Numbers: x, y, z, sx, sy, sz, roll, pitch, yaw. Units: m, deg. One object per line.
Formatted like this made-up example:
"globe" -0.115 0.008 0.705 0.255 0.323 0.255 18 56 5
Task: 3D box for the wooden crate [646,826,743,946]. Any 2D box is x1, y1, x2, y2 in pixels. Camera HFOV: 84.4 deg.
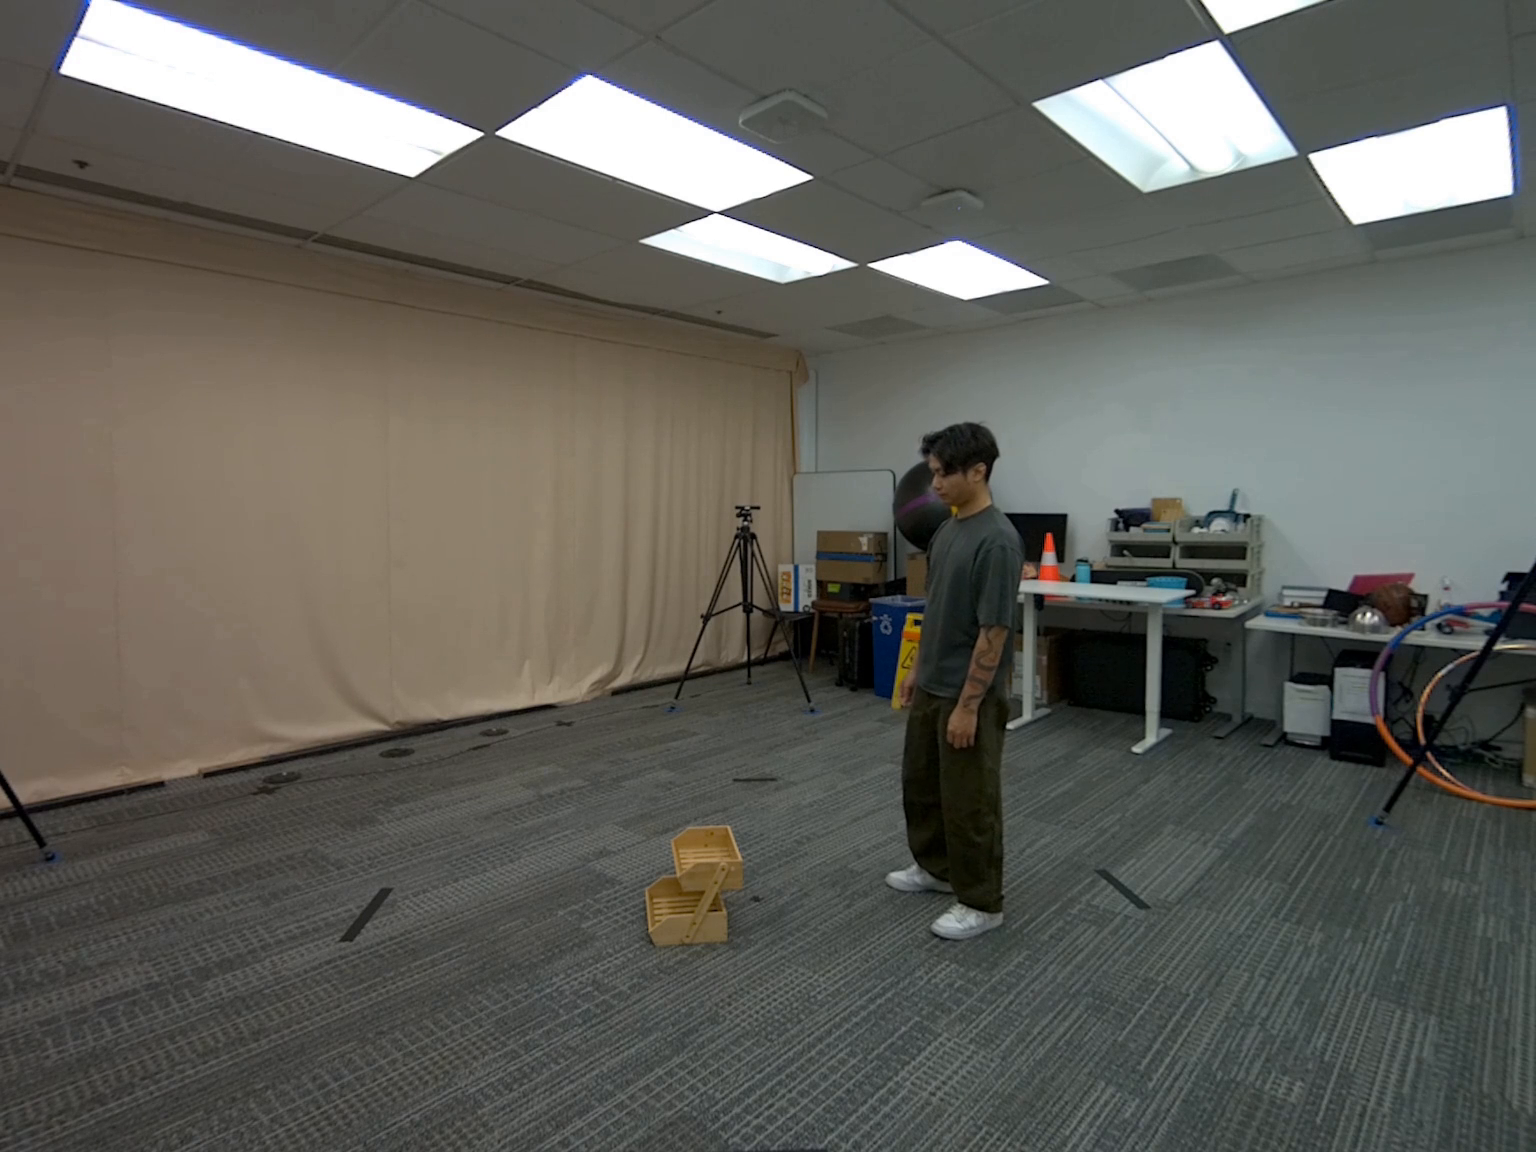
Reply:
"wooden crate" -0.259 1.025 2.825 0.299 0.273 0.328 -1 4 -10
